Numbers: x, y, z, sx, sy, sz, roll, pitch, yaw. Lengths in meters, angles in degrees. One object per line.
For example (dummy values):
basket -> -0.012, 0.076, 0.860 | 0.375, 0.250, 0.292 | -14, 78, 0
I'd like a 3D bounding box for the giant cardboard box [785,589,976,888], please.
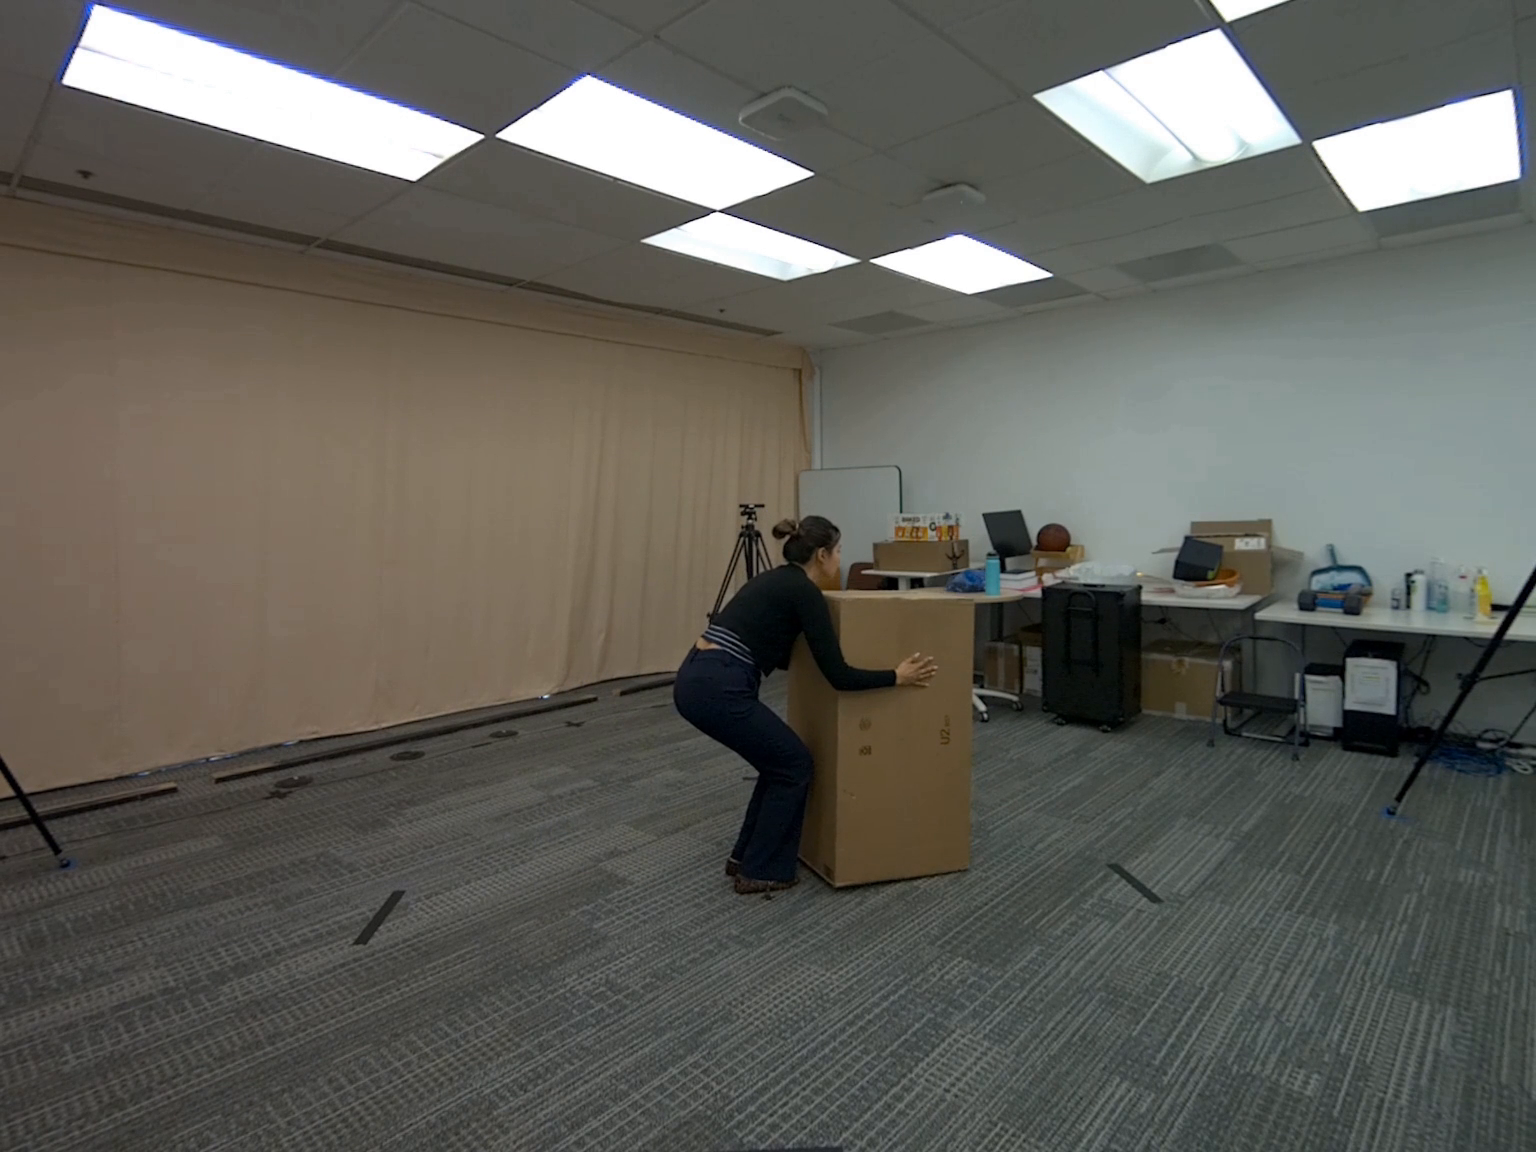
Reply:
giant cardboard box -> 0.426, 0.584, 3.264 | 0.565, 1.025, 0.435 | 1, 1, -21
